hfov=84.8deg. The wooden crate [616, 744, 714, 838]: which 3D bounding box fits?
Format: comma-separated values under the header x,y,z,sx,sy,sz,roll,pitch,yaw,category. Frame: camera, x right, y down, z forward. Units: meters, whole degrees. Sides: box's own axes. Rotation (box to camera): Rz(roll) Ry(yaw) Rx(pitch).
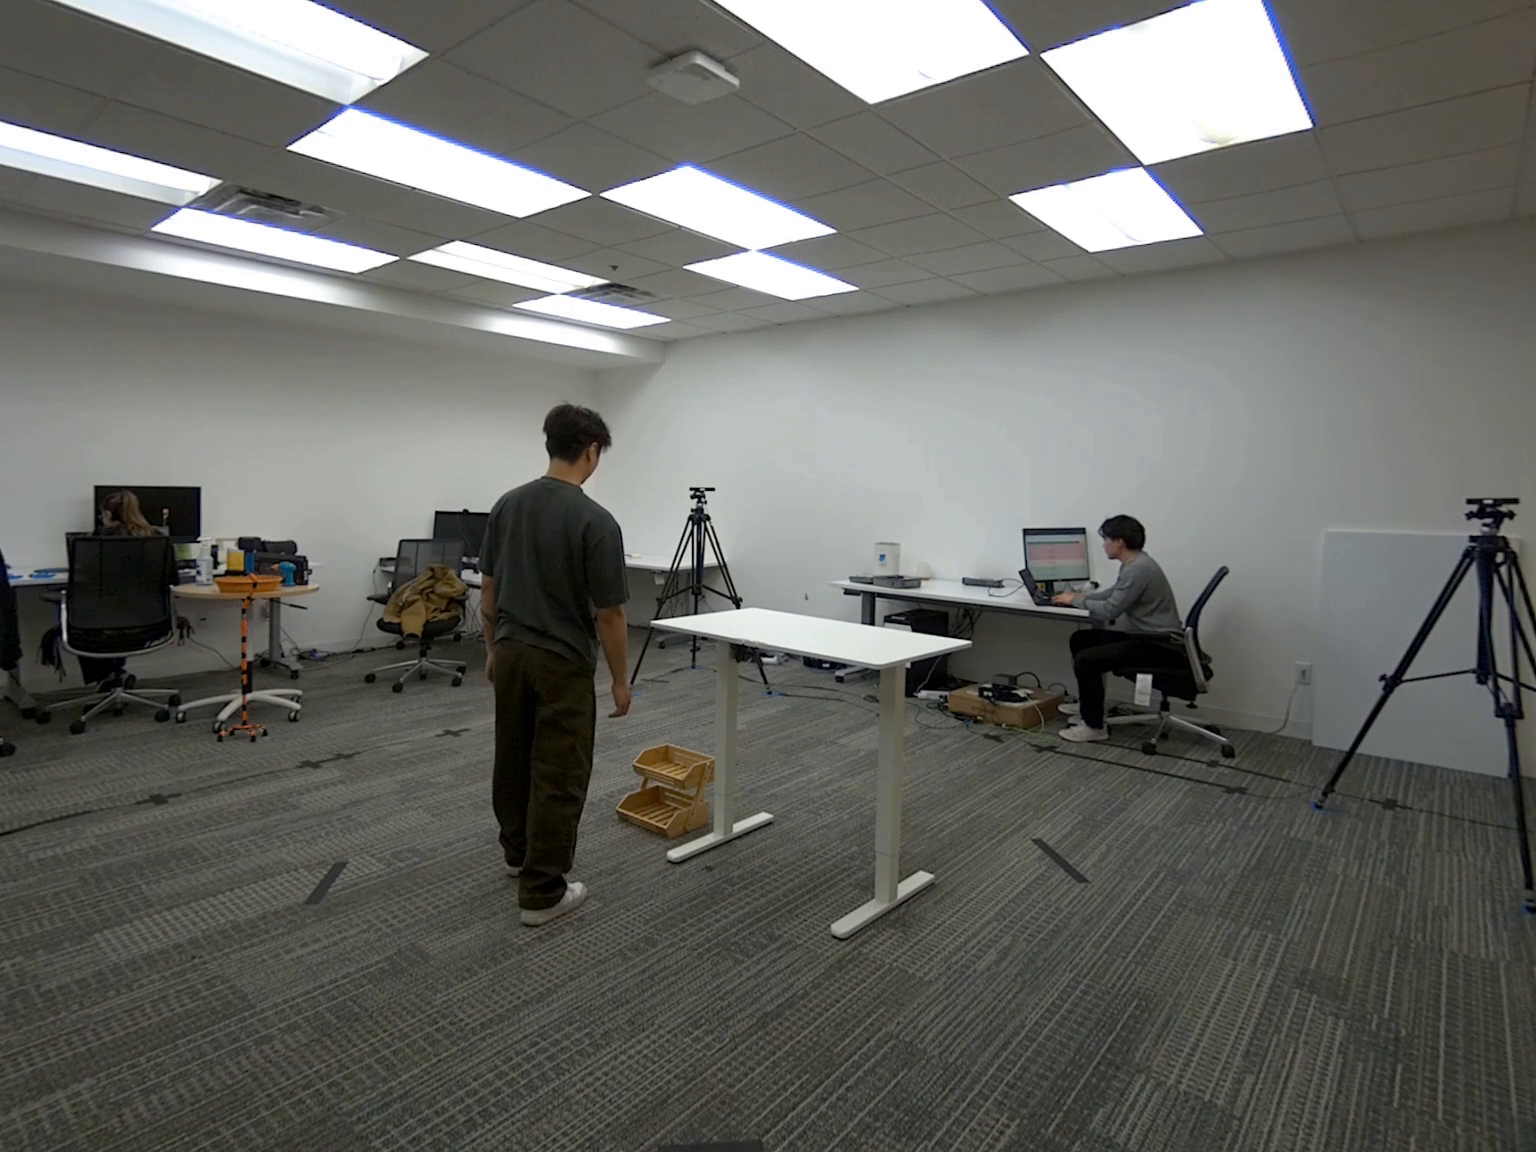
x,y,z,sx,sy,sz,roll,pitch,yaw,category
-0.435,0.885,3.561,0.335,0.272,0.293,5,5,39,wooden crate
